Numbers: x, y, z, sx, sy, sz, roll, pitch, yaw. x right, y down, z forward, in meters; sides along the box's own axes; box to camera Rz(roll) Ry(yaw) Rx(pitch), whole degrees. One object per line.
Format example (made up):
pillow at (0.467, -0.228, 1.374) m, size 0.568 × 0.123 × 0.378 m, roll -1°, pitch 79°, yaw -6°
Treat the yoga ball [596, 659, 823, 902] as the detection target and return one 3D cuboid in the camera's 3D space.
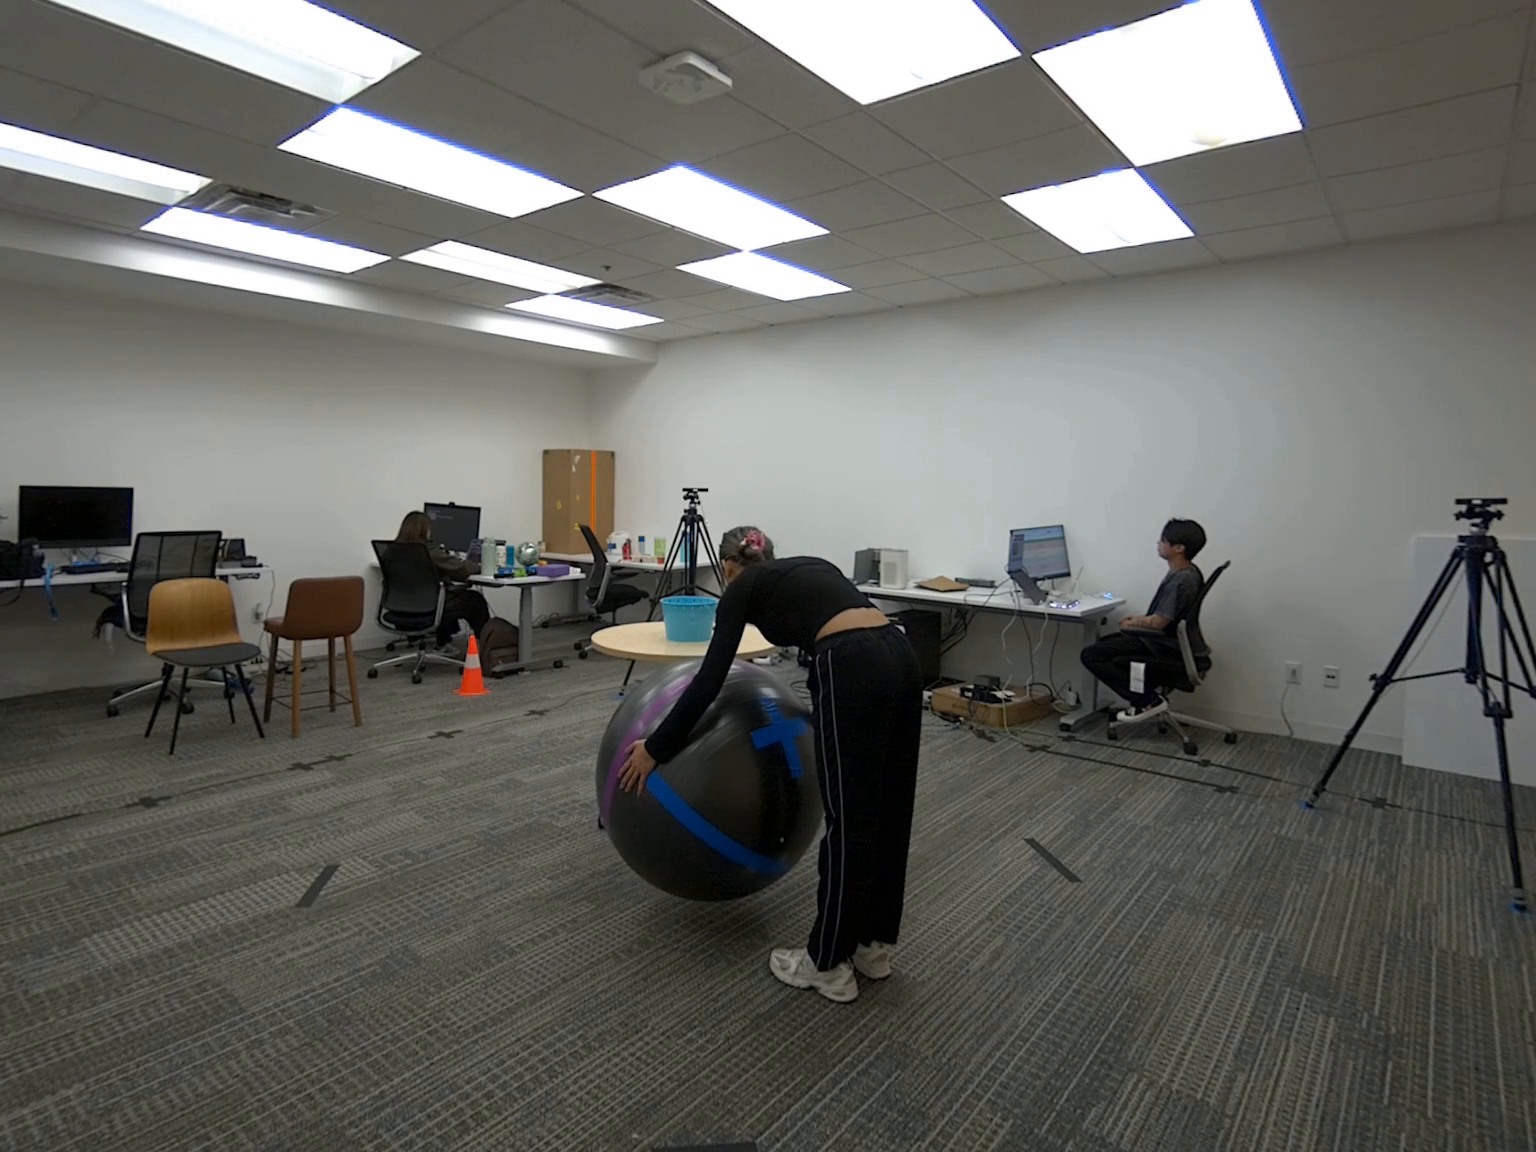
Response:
yoga ball at (-0.189, 0.651, 2.763) m, size 0.757 × 0.756 × 0.762 m, roll 1°, pitch 4°, yaw -2°
